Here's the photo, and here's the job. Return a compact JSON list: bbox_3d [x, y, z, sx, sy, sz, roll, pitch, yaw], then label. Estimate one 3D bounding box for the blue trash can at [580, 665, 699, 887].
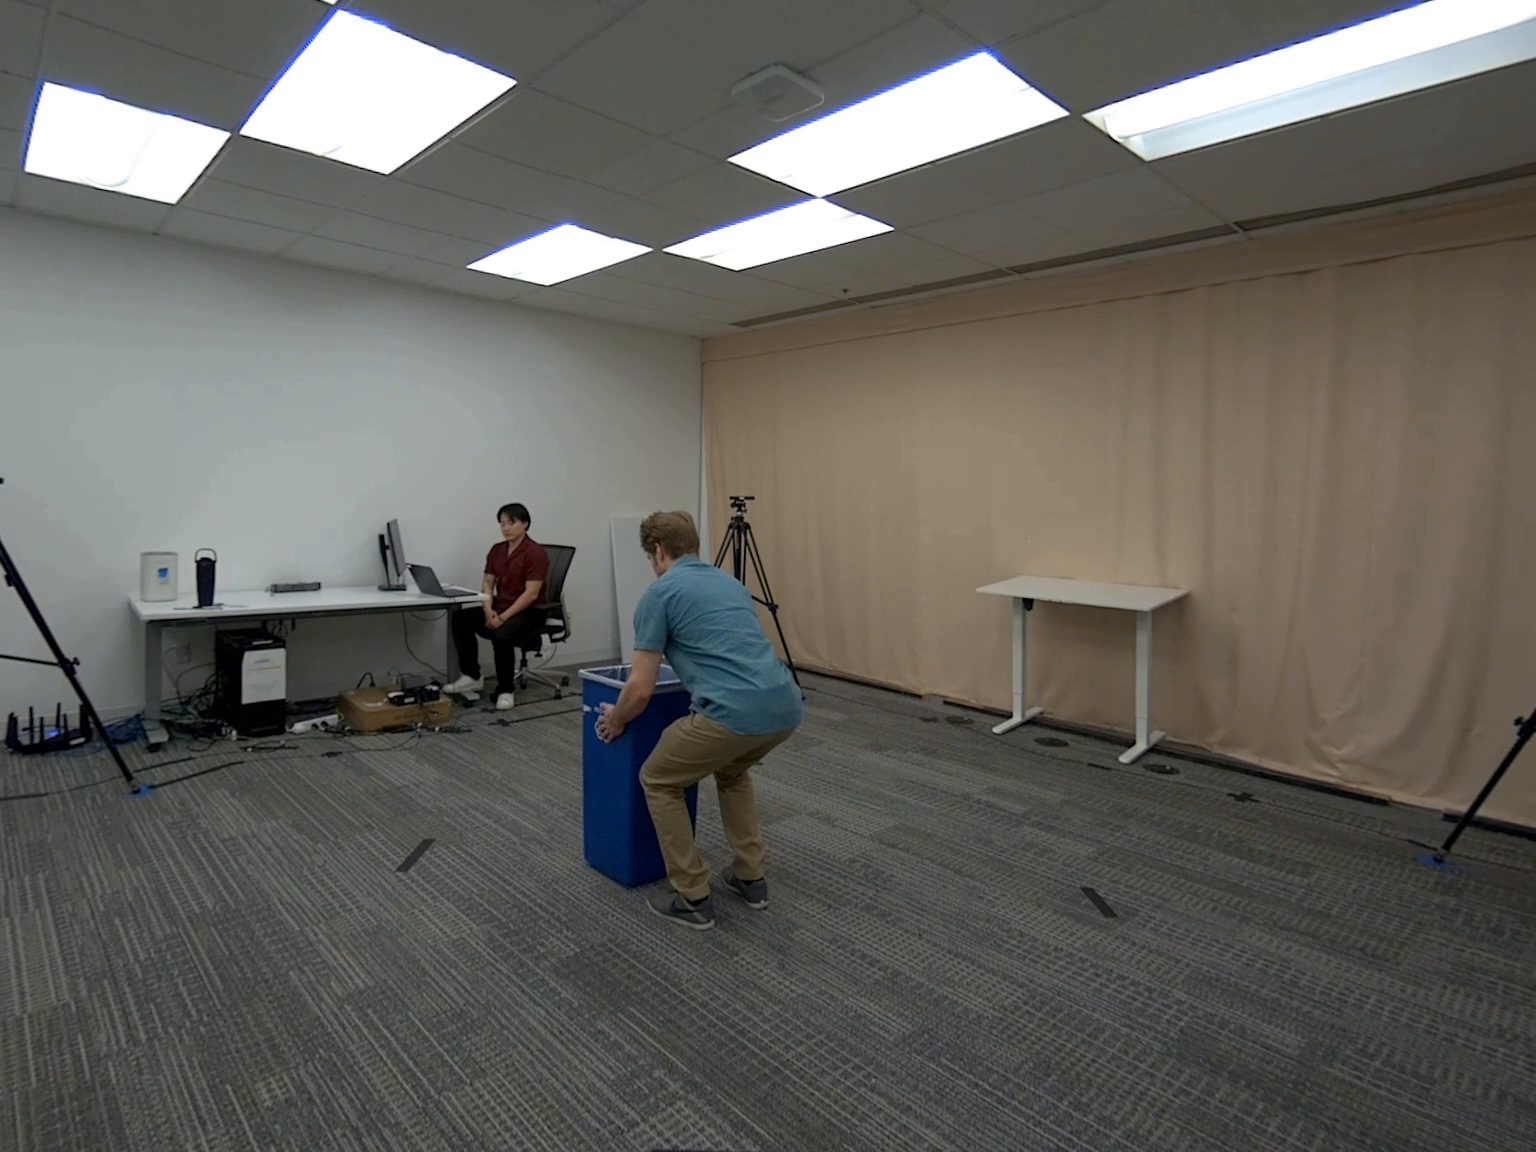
[{"bbox_3d":[-0.488,0.716,3.161,0.365,0.712,0.387,-2,3,-44],"label":"blue trash can"}]
